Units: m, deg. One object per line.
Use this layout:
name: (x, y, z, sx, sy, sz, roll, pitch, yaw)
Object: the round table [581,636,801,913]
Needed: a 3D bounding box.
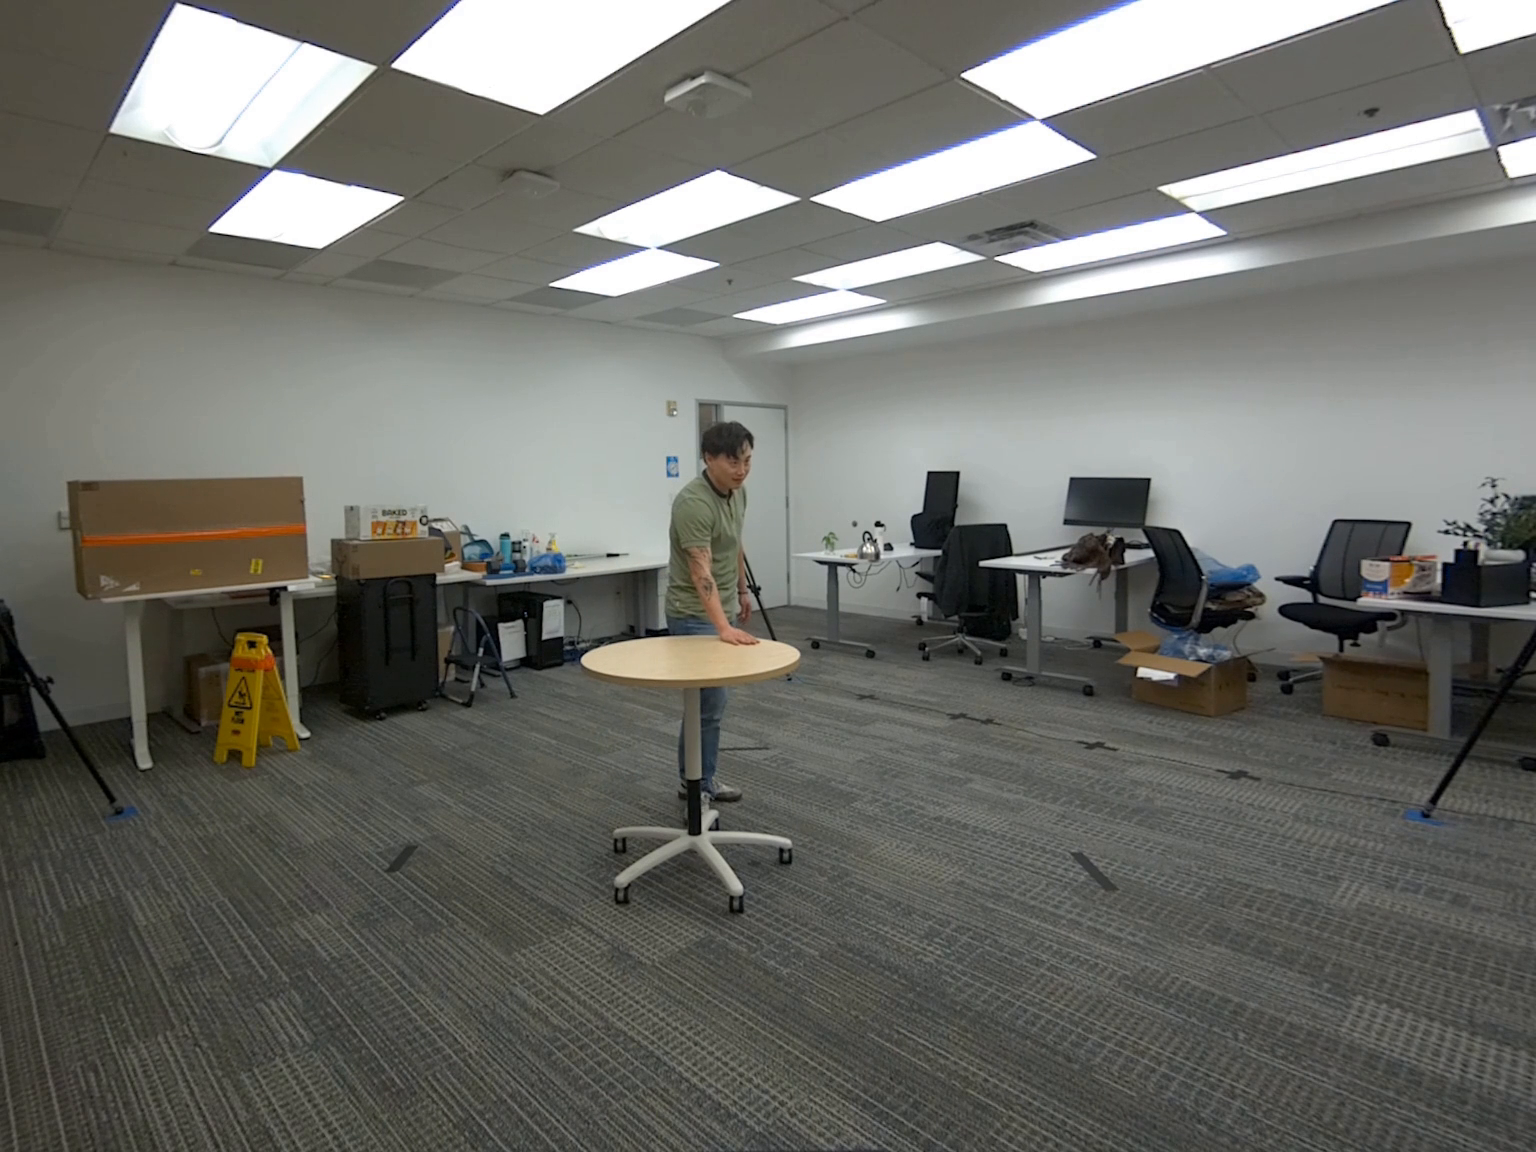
round table: (-0.265, 0.672, 3.021, 0.763, 0.791, 0.768, -1, 5, -2)
